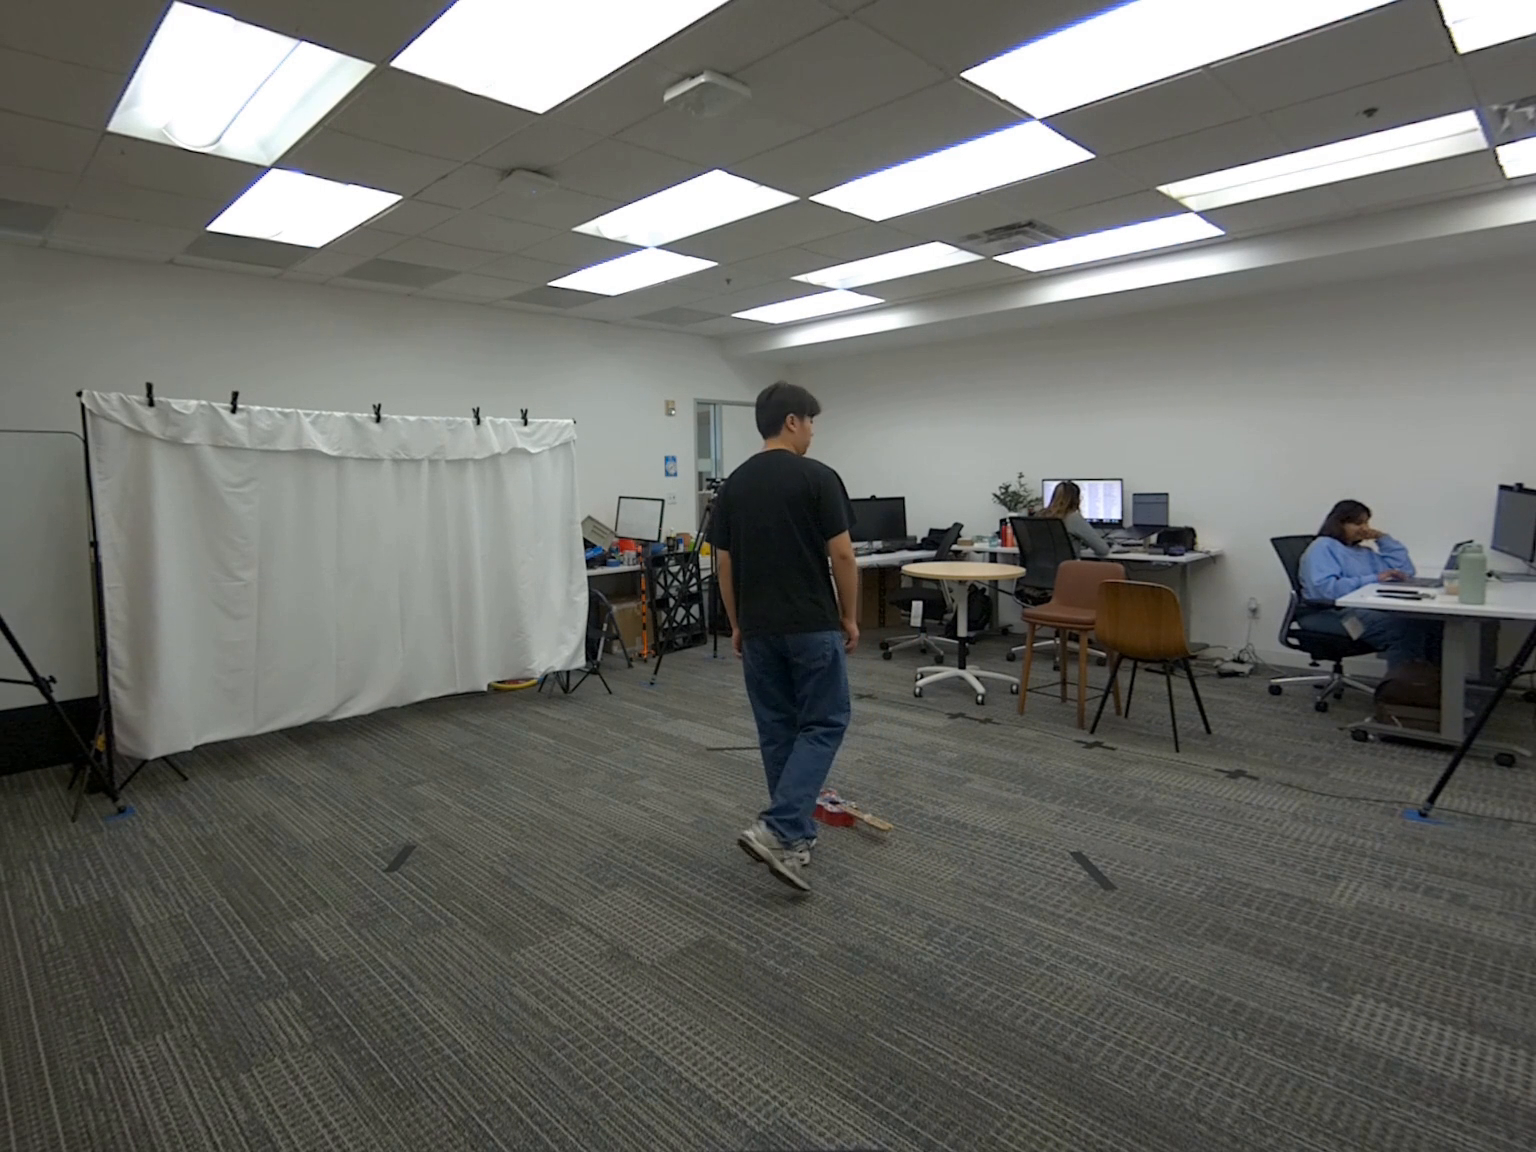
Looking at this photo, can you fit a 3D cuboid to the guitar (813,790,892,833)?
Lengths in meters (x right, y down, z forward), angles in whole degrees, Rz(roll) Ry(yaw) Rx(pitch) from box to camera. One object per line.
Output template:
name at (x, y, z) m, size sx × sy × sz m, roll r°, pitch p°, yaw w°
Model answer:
guitar at (0.297, 0.966, 3.442) m, size 0.189 × 0.070 × 0.511 m, roll -3°, pitch 6°, yaw -26°
